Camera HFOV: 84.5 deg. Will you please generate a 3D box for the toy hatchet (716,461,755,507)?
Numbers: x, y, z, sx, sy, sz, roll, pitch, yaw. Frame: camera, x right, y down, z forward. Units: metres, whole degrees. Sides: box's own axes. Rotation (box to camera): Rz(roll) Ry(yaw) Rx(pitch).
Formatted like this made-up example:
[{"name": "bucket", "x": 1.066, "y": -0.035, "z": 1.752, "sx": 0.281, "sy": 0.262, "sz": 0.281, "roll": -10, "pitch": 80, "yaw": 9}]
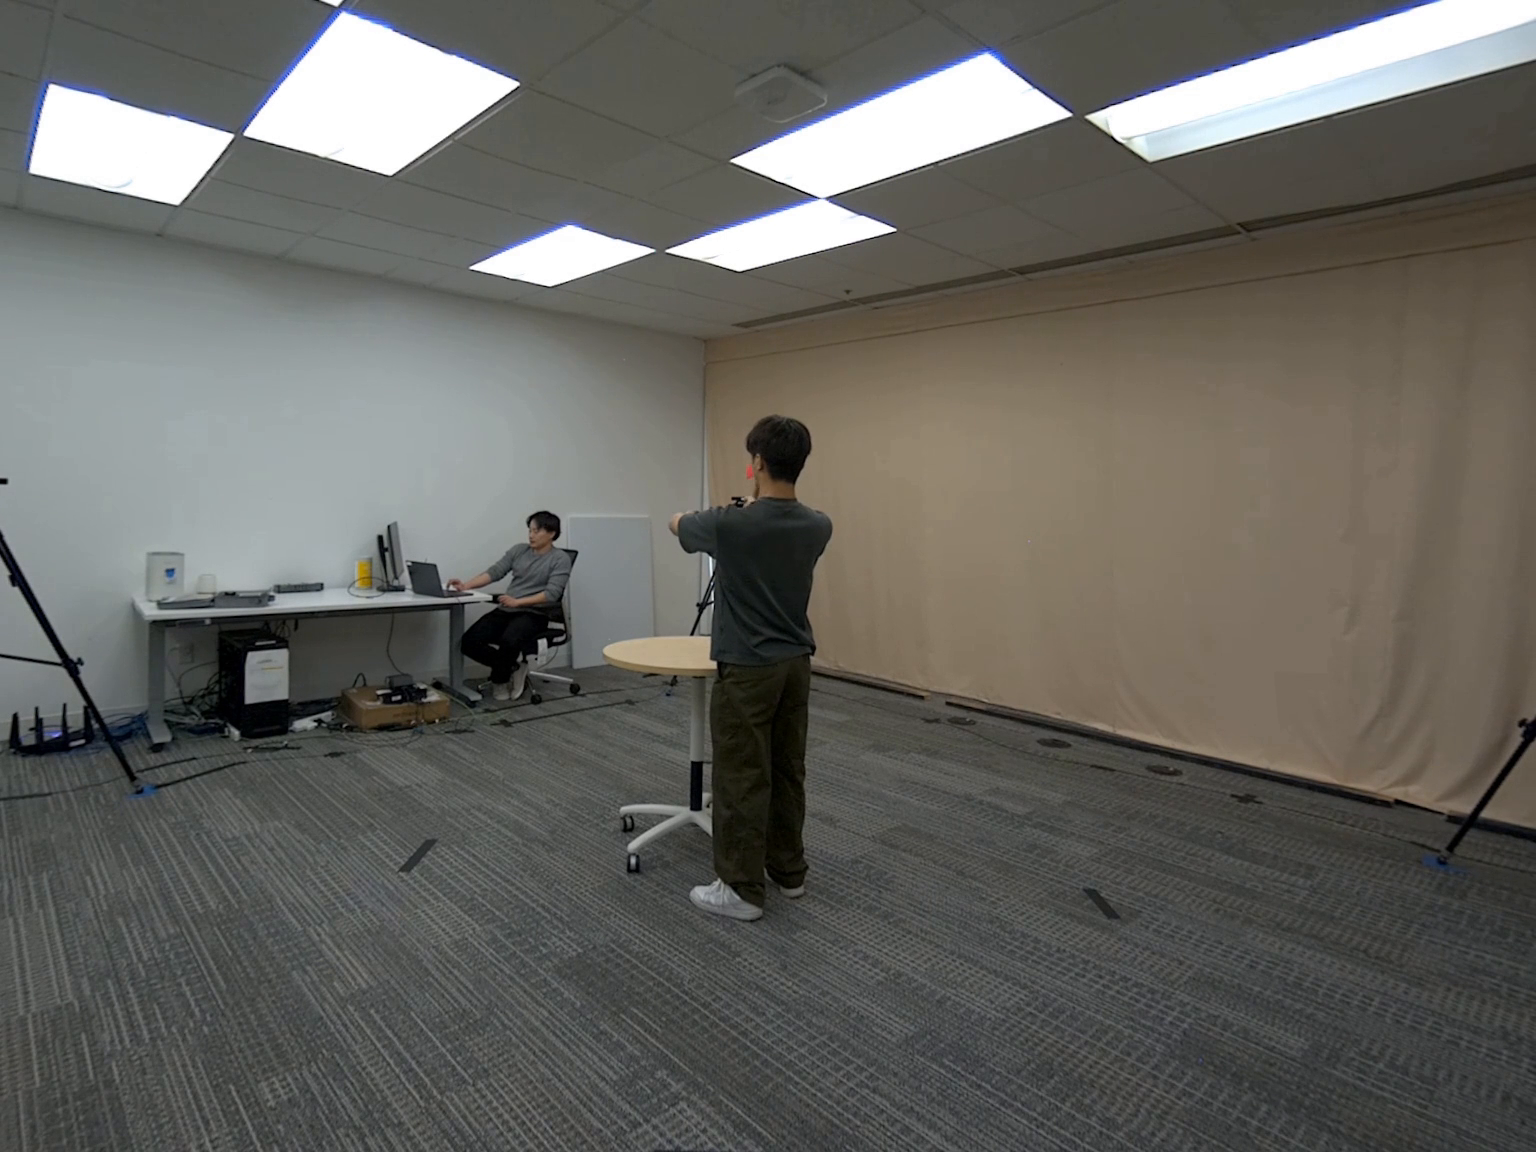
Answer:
[{"name": "toy hatchet", "x": -0.087, "y": -0.335, "z": 3.423, "sx": 0.129, "sy": 0.271, "sz": 0.030, "roll": 39, "pitch": -17, "yaw": -13}]
